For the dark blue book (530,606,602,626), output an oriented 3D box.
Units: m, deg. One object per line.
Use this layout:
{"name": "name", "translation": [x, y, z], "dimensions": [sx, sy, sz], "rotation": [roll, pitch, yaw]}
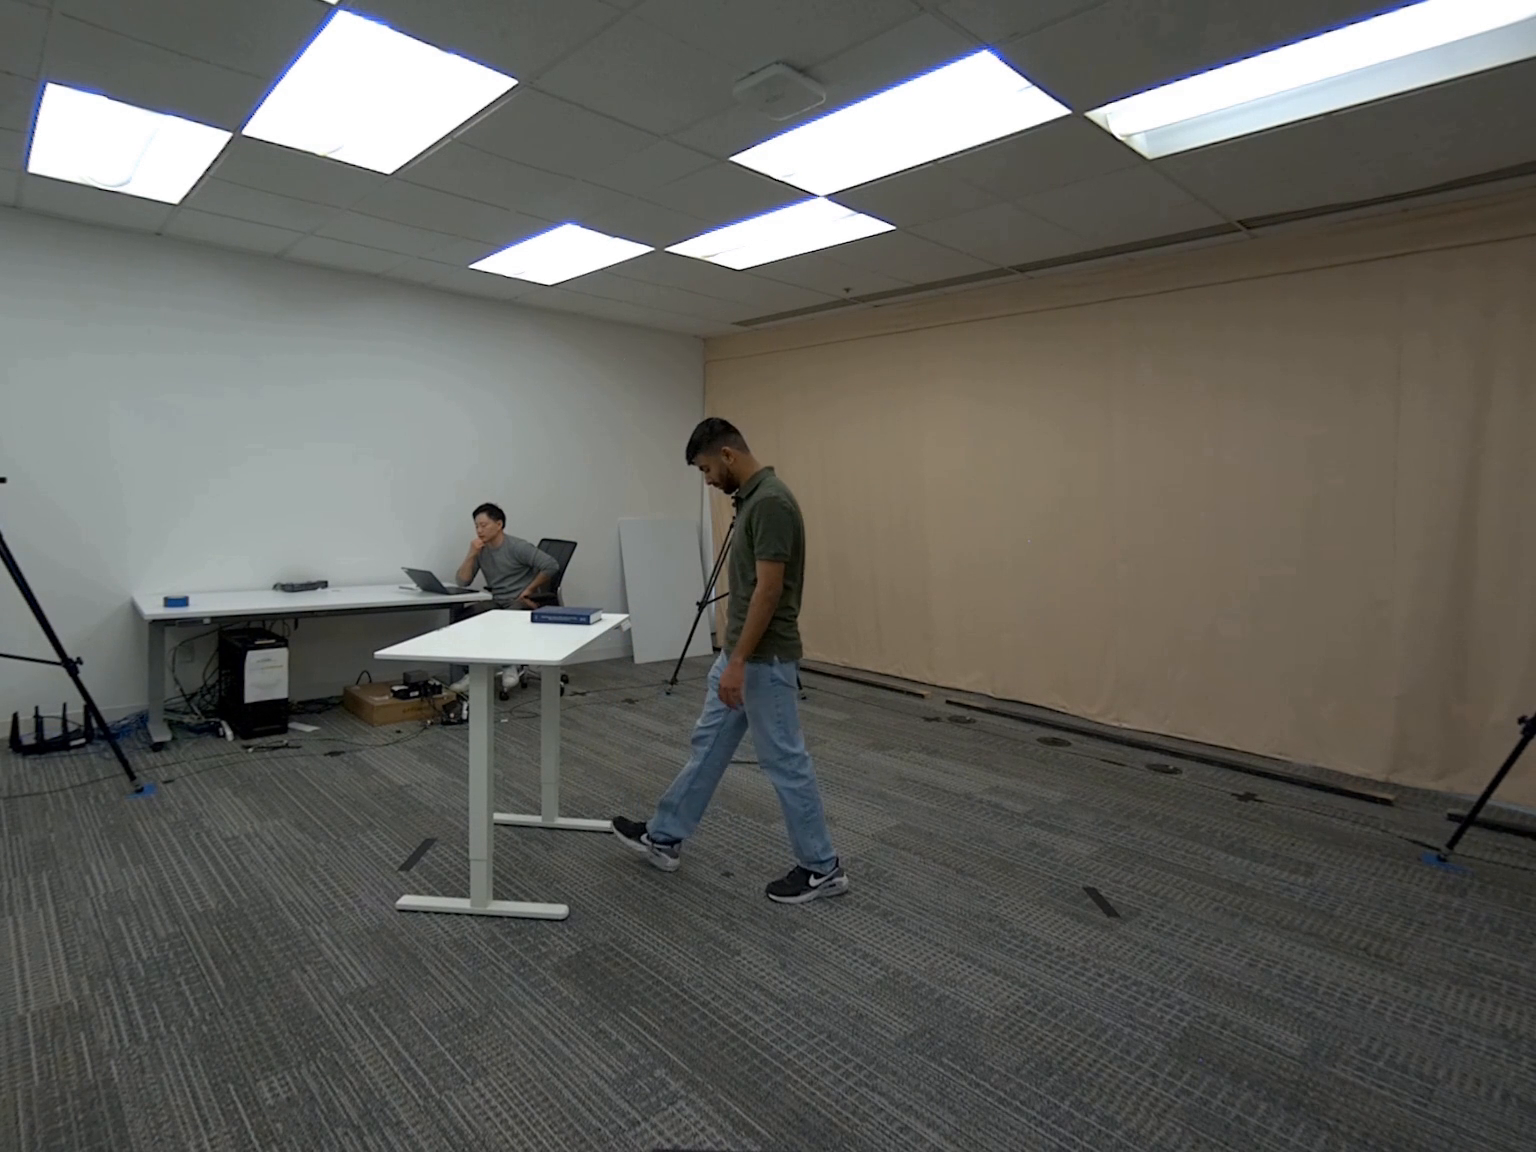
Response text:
{"name": "dark blue book", "translation": [-0.811, 0.162, 3.352], "dimensions": [0.247, 0.045, 0.163], "rotation": [2, 6, 9]}
